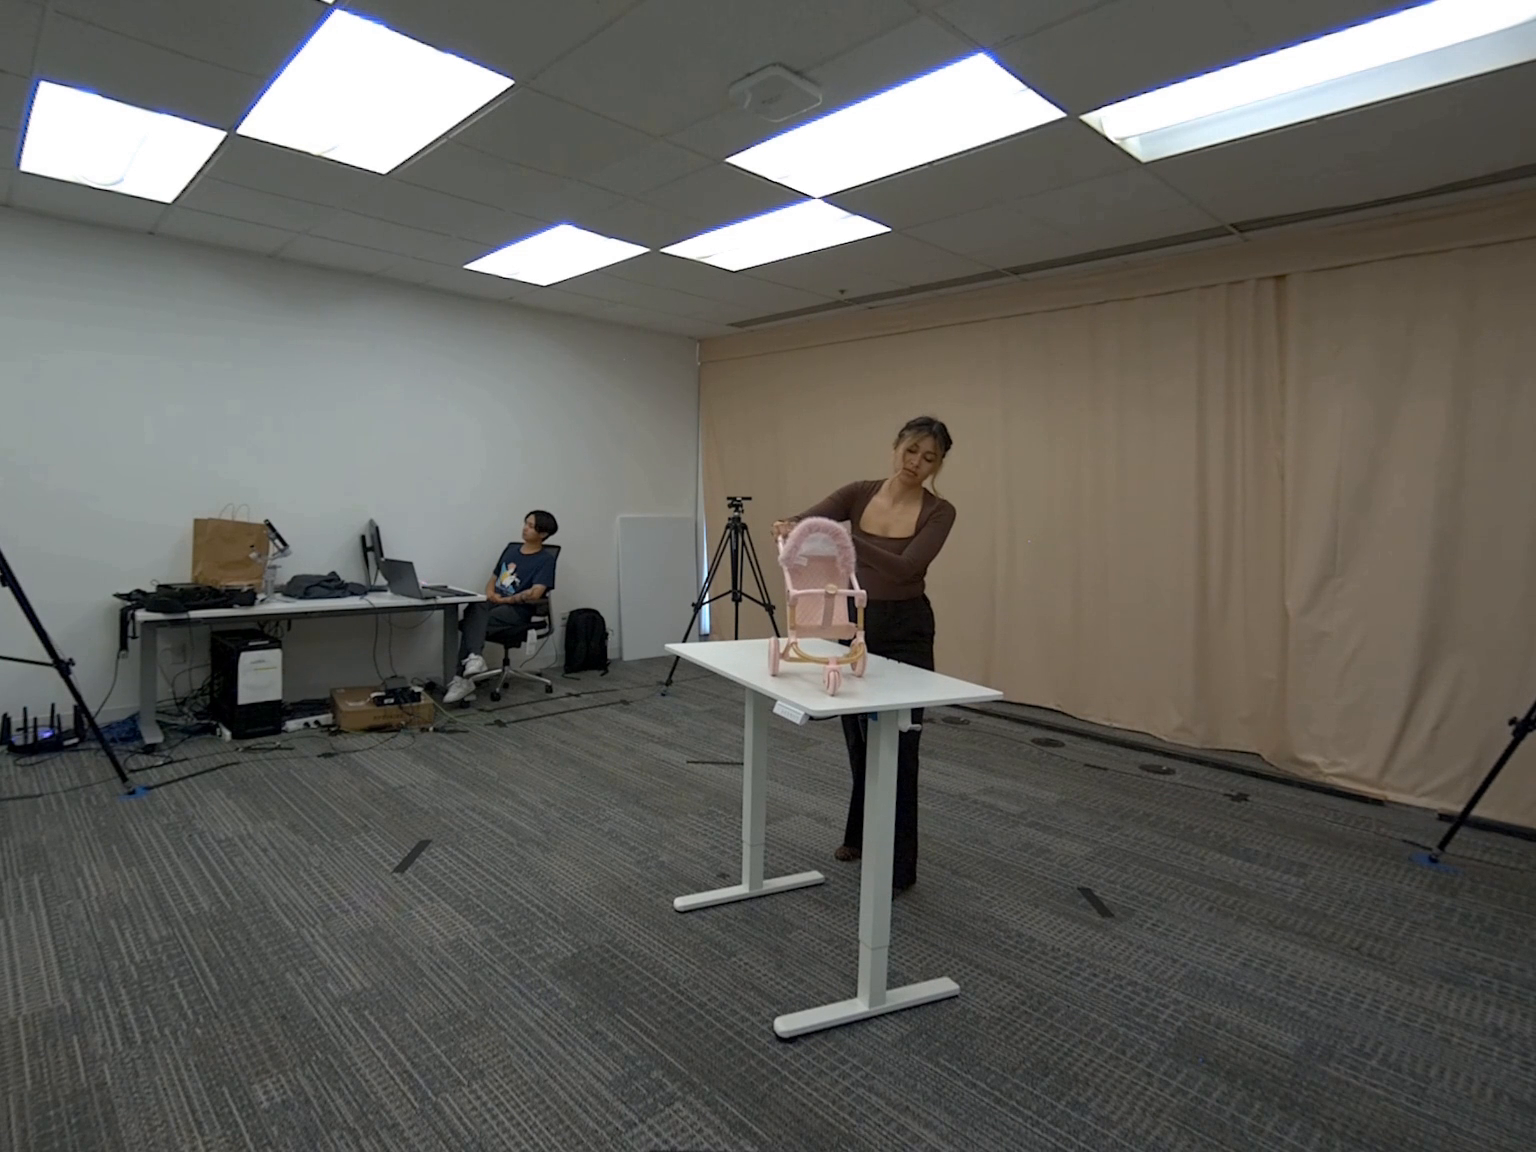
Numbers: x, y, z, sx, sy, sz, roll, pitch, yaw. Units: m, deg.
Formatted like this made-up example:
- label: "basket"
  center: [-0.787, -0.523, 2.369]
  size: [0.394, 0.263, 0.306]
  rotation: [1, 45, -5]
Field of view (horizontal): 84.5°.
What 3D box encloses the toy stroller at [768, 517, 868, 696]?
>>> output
- label: "toy stroller"
  center: [0.147, 0.082, 2.355]
  size: [0.281, 0.539, 0.339]
  rotation: [0, -11, -3]
